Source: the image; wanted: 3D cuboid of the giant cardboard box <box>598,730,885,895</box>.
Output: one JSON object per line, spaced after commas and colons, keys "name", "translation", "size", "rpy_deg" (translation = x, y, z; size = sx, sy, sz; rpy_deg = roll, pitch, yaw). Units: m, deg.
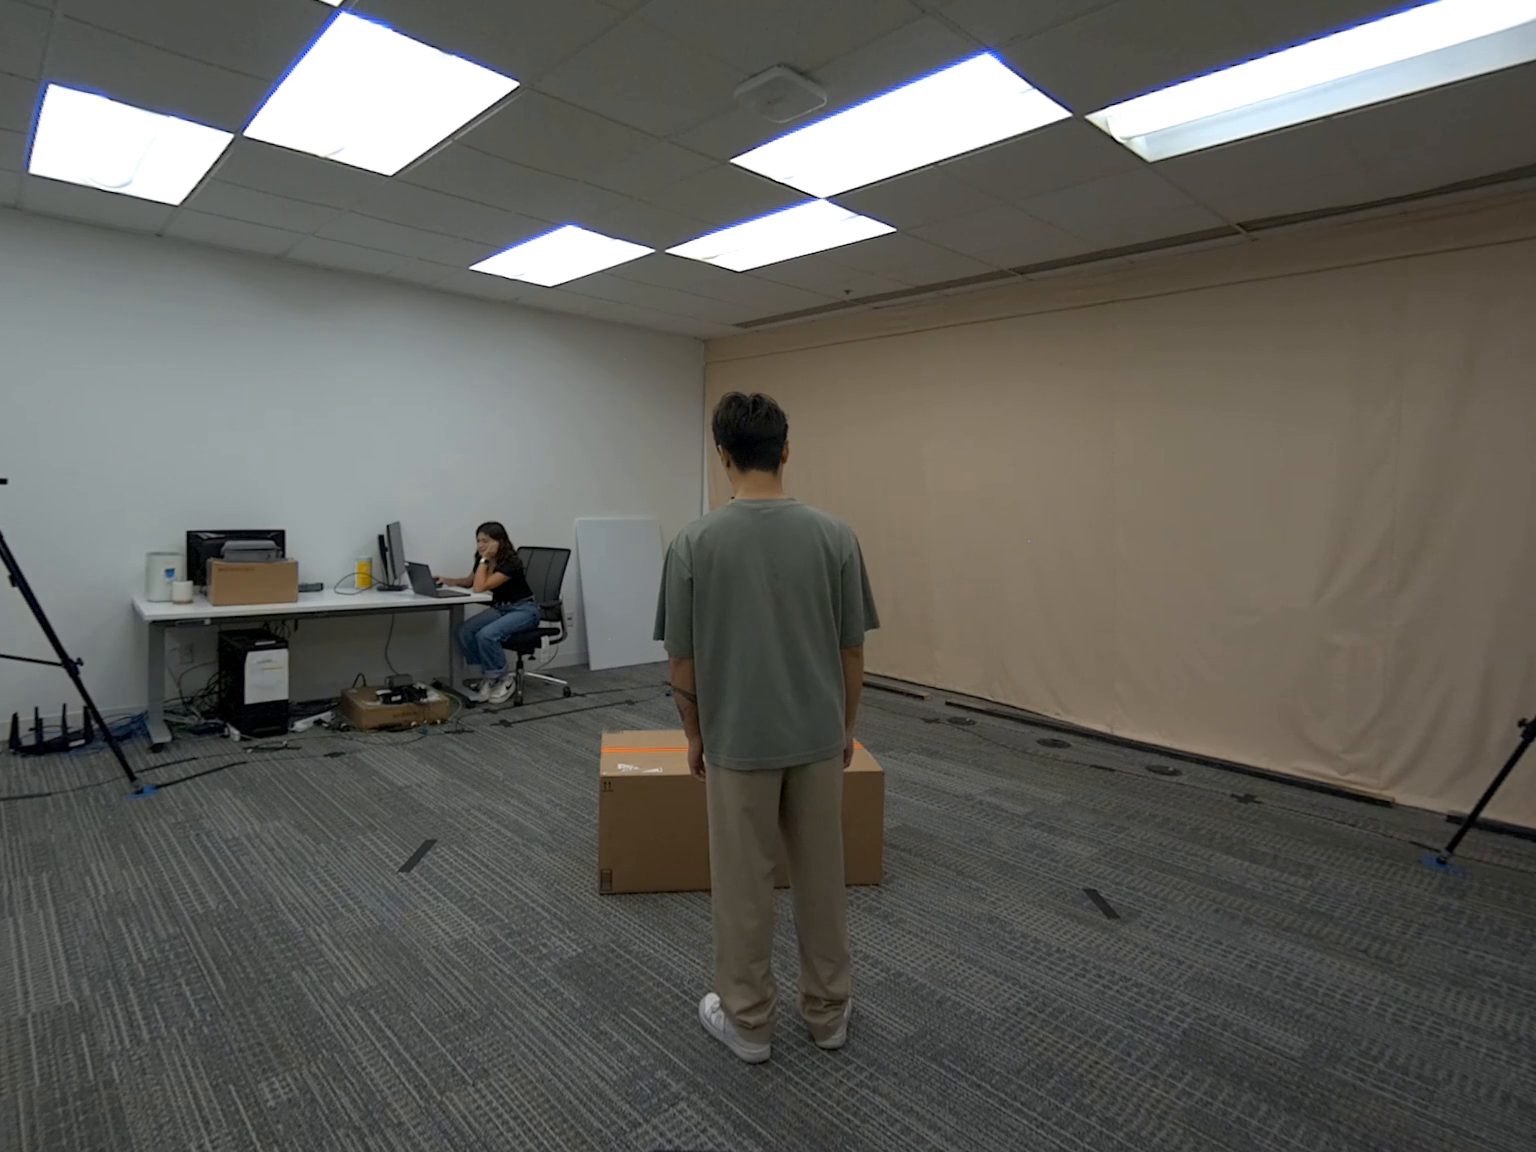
{"name": "giant cardboard box", "translation": [-0.141, 0.875, 3.266], "size": [1.019, 0.425, 0.583], "rpy_deg": [1, 5, -8]}
